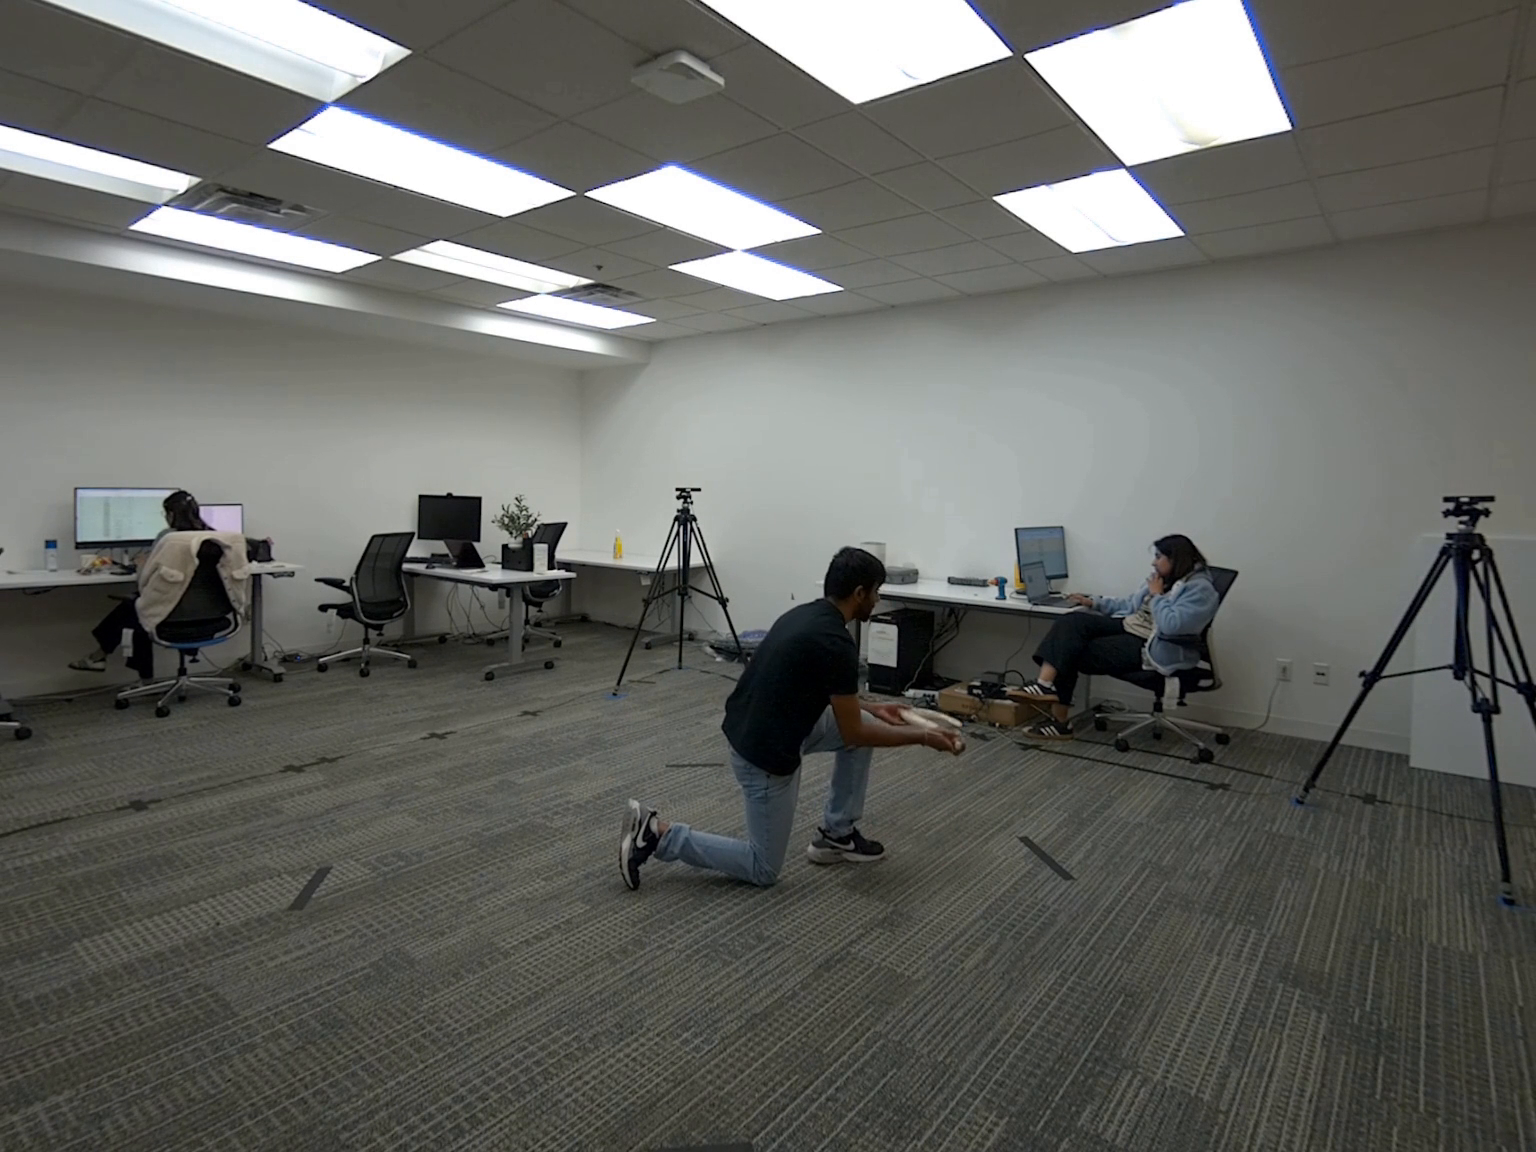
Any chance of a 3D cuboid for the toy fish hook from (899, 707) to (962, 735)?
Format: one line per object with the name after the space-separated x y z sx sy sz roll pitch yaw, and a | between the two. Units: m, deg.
0.656 0.575 3.164 0.222 0.048 0.515 2 7 -12 | toy fish hook
